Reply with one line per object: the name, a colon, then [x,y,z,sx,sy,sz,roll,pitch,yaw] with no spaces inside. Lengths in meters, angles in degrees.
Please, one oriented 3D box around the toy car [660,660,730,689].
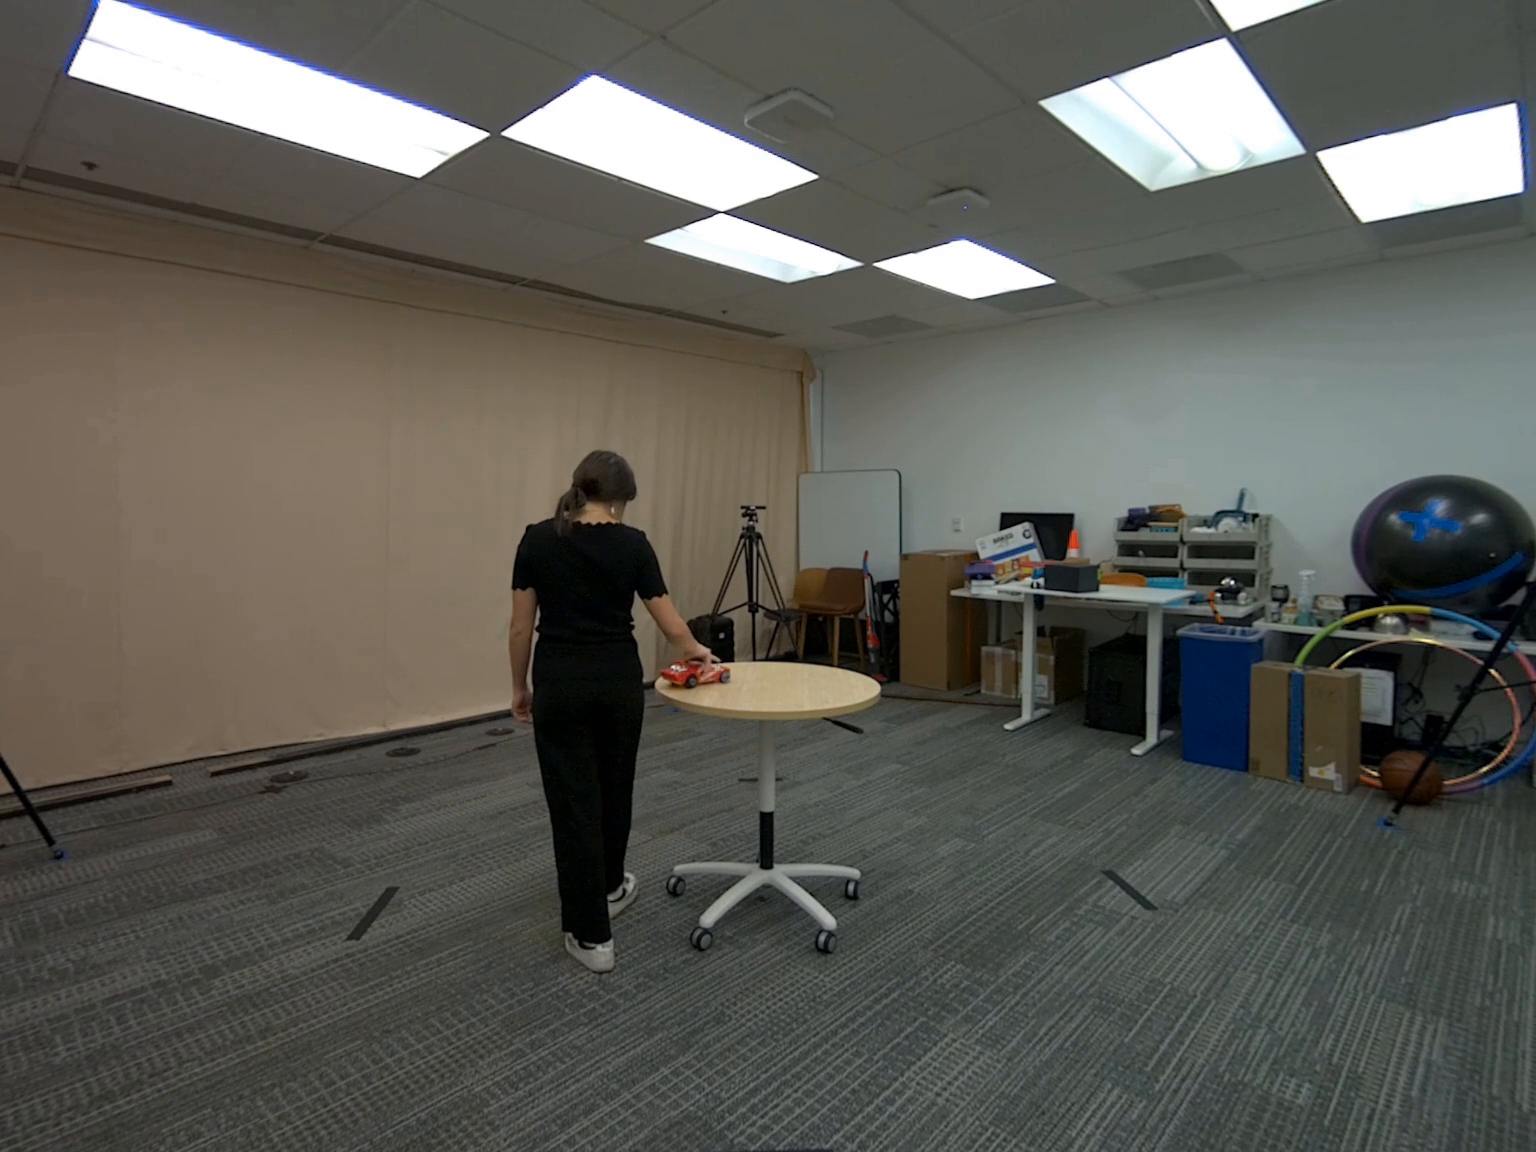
toy car: [-0.248,0.338,2.862,0.246,0.083,0.135,10,-2,-40]
